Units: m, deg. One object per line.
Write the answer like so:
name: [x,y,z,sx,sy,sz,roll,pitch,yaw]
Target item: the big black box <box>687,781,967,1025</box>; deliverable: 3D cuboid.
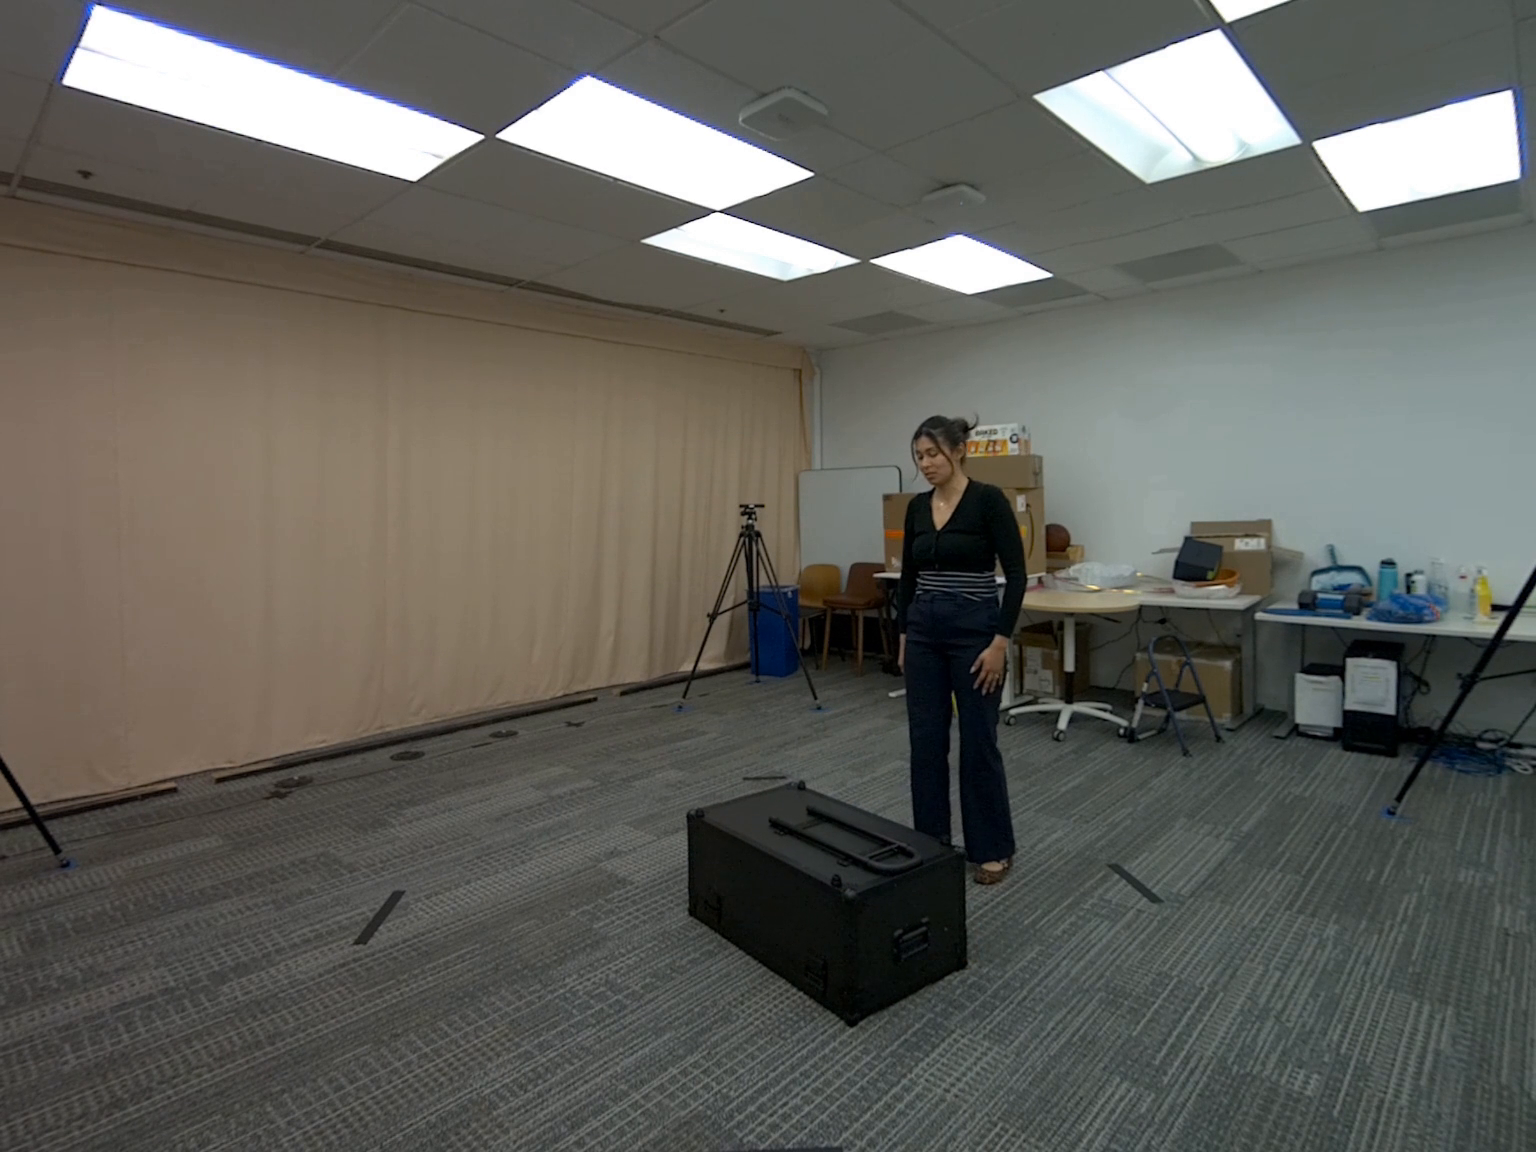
big black box: [0.179,0.989,2.655,0.506,0.395,0.889,-4,5,-38]
